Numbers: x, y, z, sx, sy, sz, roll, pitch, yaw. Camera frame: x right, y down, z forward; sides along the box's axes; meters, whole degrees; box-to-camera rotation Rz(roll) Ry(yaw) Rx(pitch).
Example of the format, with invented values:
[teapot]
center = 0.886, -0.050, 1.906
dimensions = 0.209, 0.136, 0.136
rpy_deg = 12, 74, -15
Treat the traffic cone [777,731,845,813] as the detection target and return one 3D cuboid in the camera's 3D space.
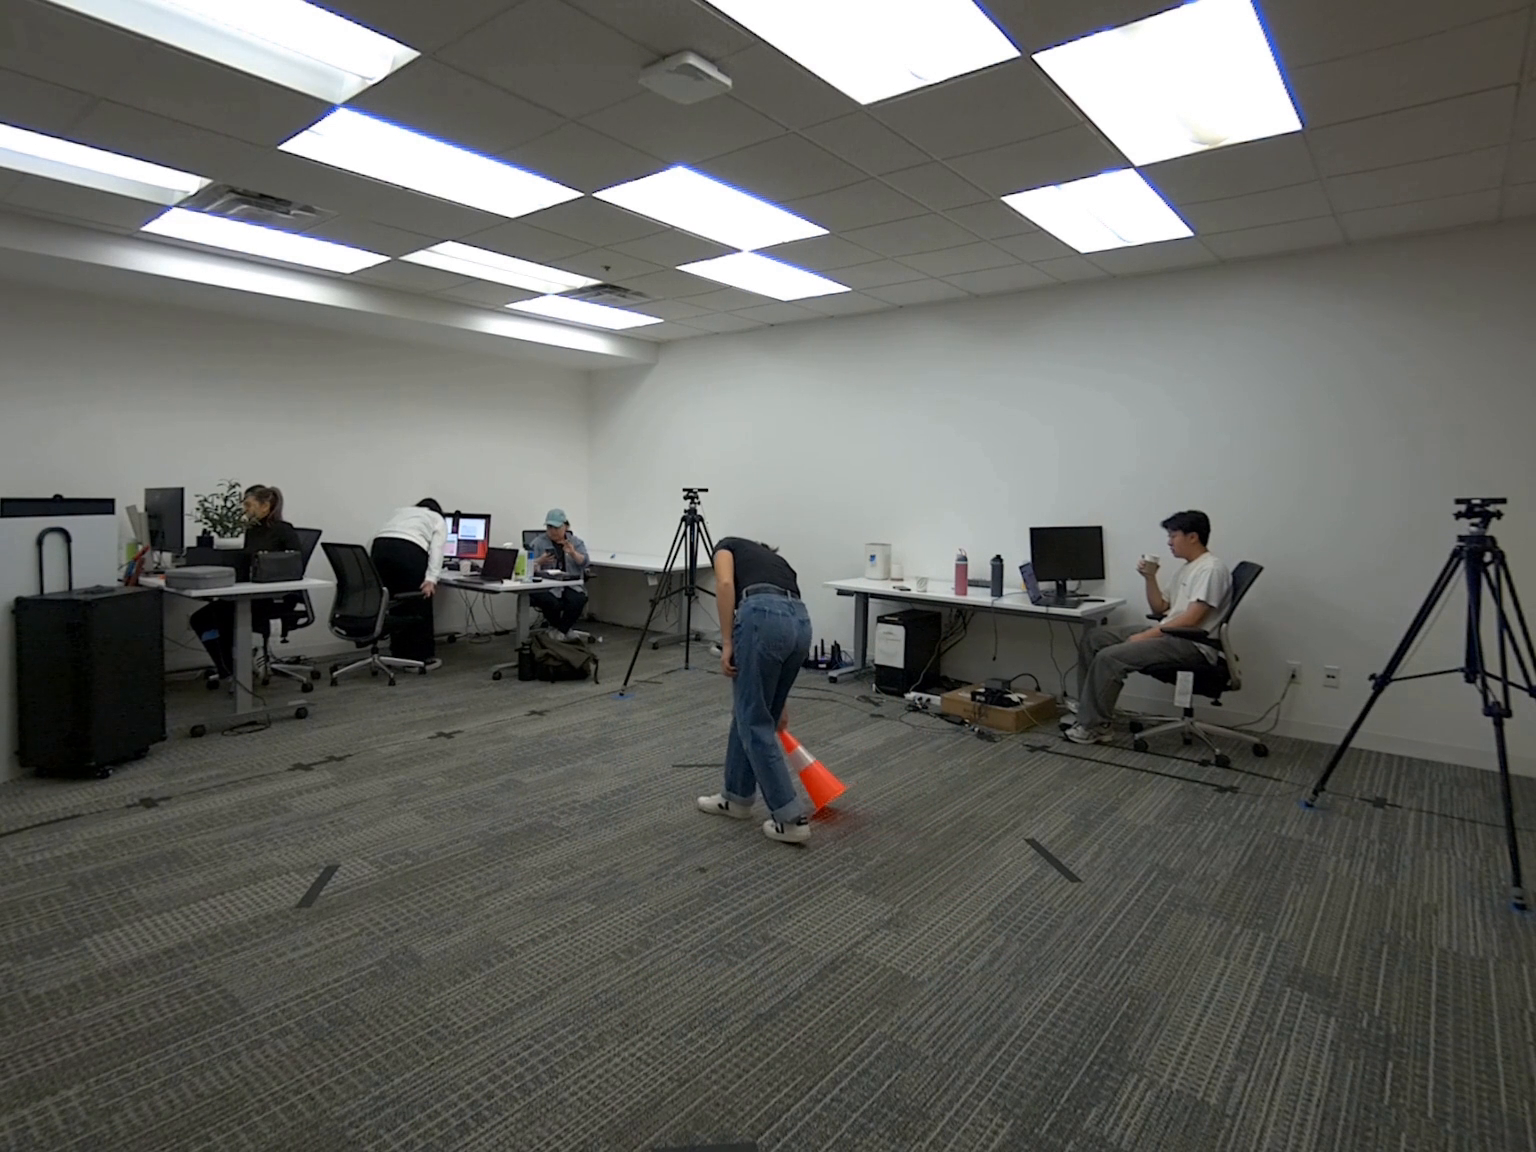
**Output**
[traffic cone]
center = 0.157, 0.815, 3.718
dimensions = 0.205, 0.392, 0.198
rpy_deg = -43, -16, 22
